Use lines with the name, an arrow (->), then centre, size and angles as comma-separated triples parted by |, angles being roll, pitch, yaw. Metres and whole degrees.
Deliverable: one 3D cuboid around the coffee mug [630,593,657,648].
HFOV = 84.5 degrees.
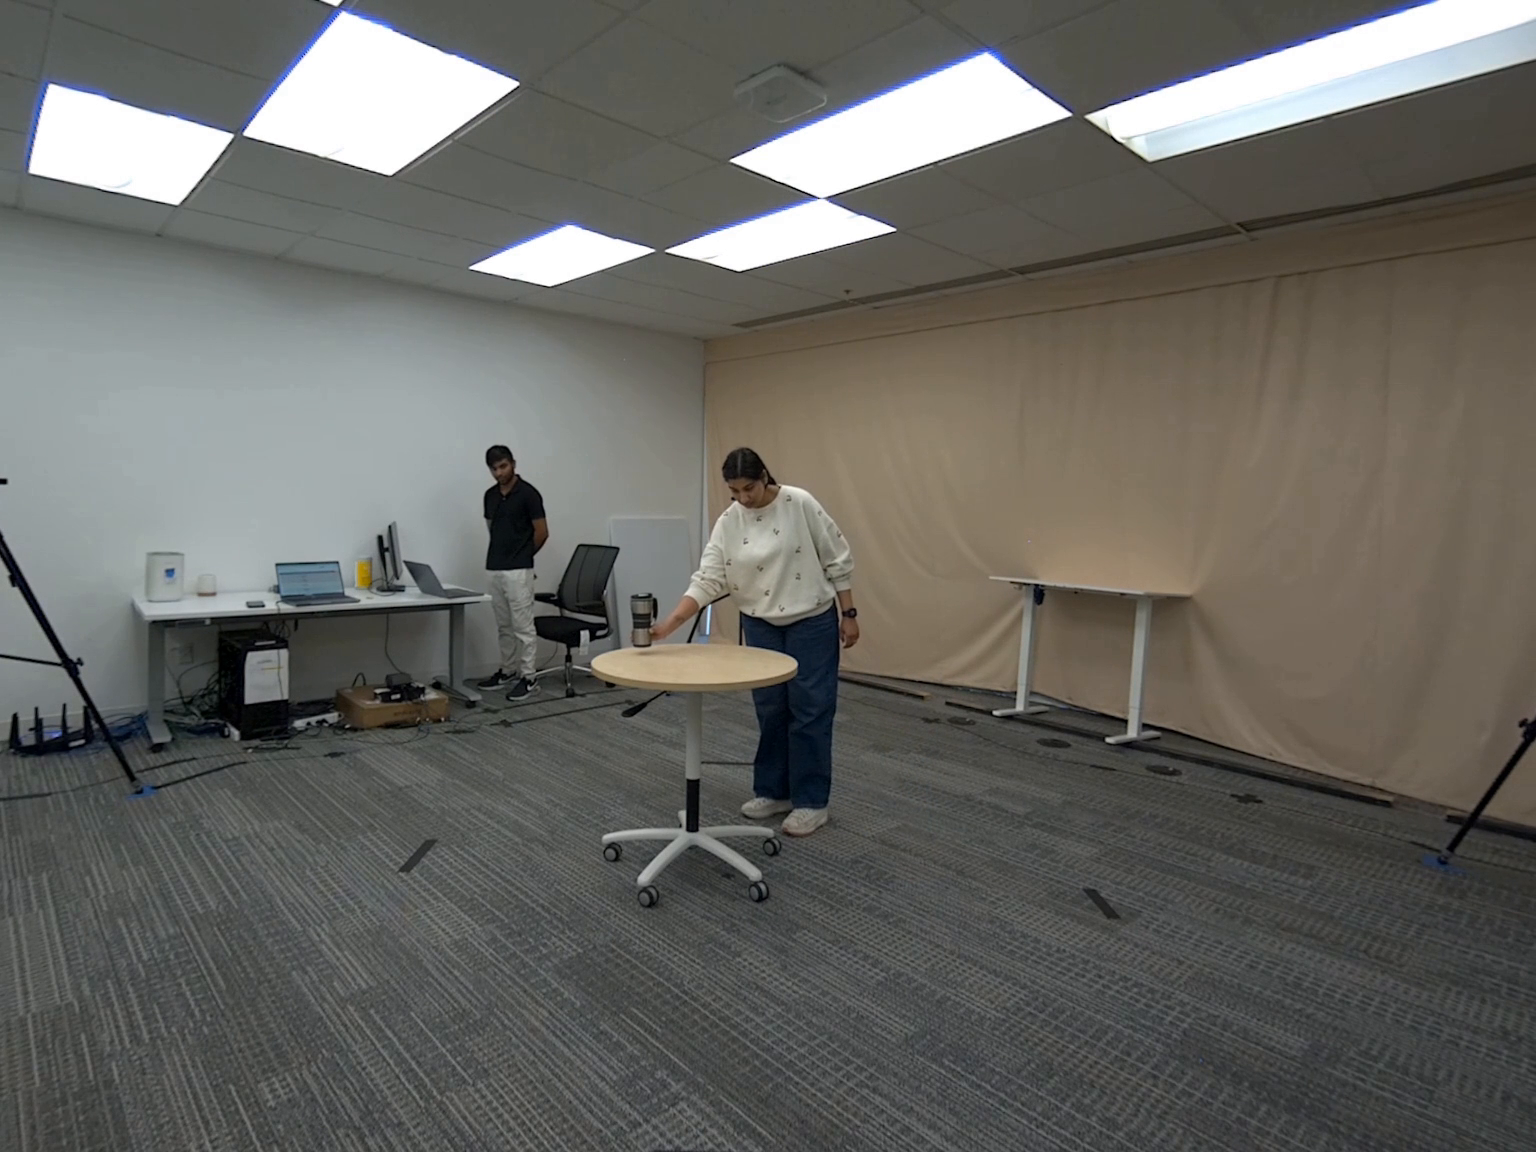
coffee mug -> -0.515, 0.175, 3.252 | 0.119, 0.203, 0.090 | 4, 2, -29
